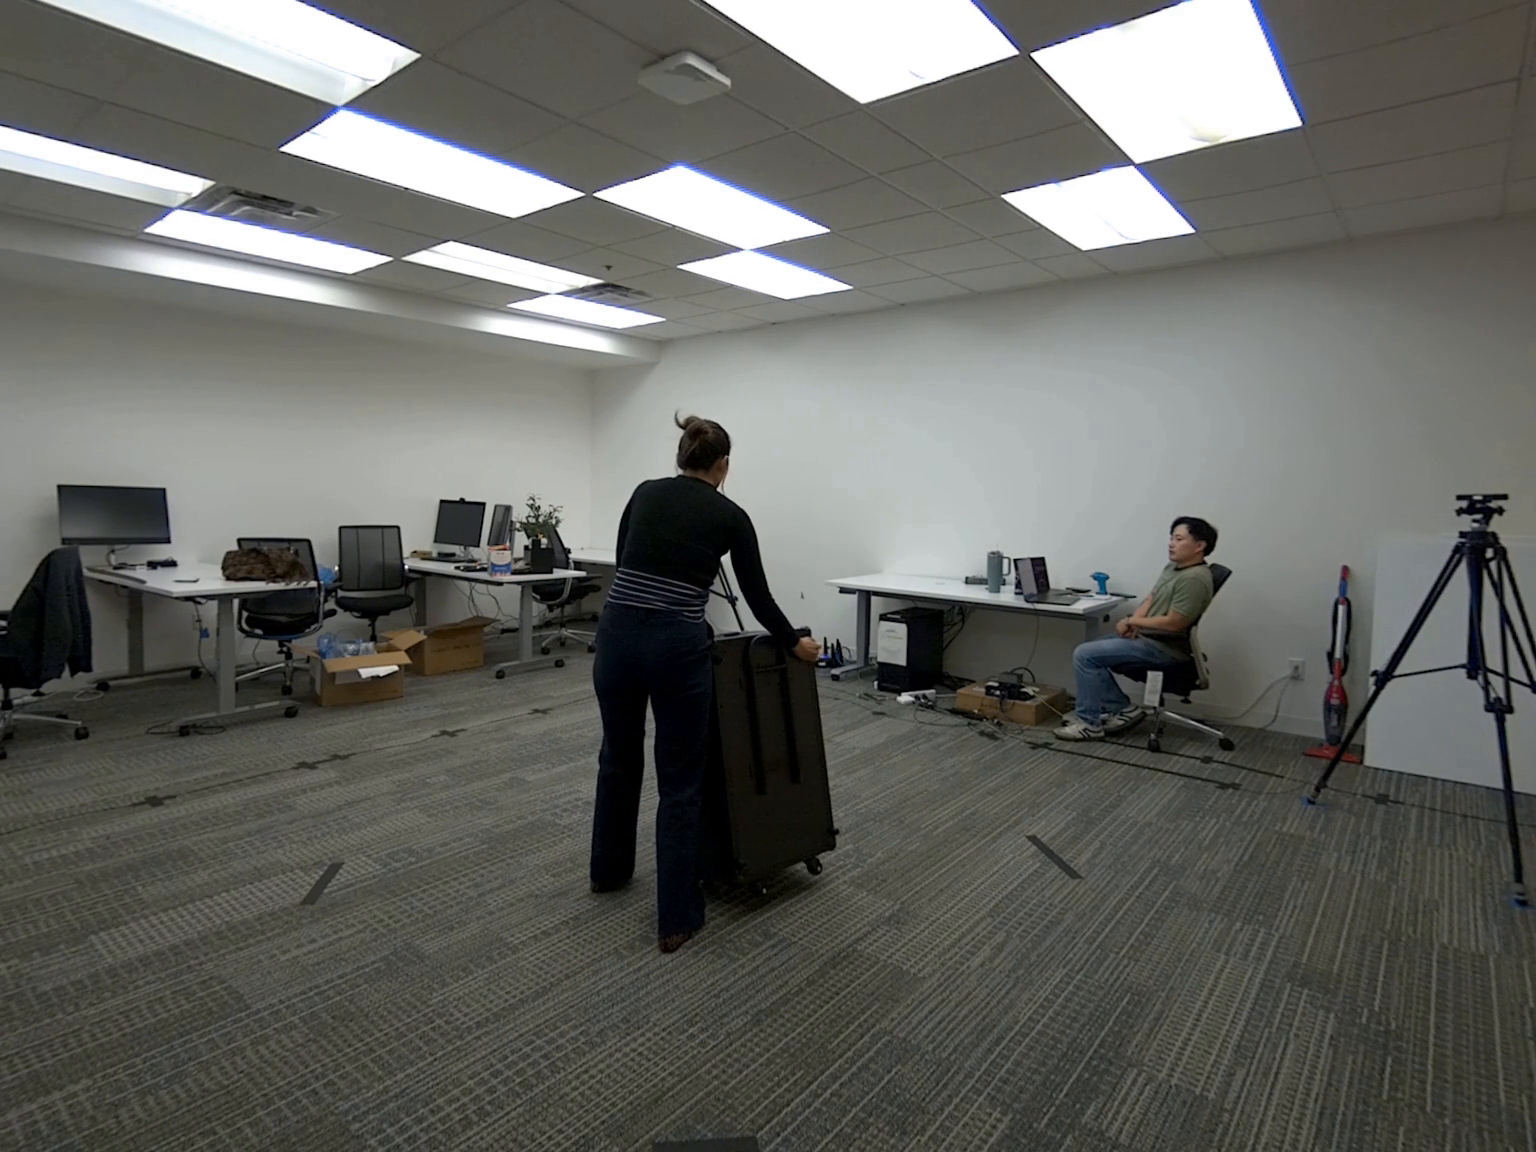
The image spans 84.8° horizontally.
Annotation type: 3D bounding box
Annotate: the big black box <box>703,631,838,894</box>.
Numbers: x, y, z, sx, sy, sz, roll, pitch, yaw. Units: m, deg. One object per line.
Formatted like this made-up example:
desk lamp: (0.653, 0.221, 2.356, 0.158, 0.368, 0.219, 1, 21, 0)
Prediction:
big black box: (-0.100, 0.584, 3.035, 0.505, 0.866, 0.406, -1, -6, -40)
